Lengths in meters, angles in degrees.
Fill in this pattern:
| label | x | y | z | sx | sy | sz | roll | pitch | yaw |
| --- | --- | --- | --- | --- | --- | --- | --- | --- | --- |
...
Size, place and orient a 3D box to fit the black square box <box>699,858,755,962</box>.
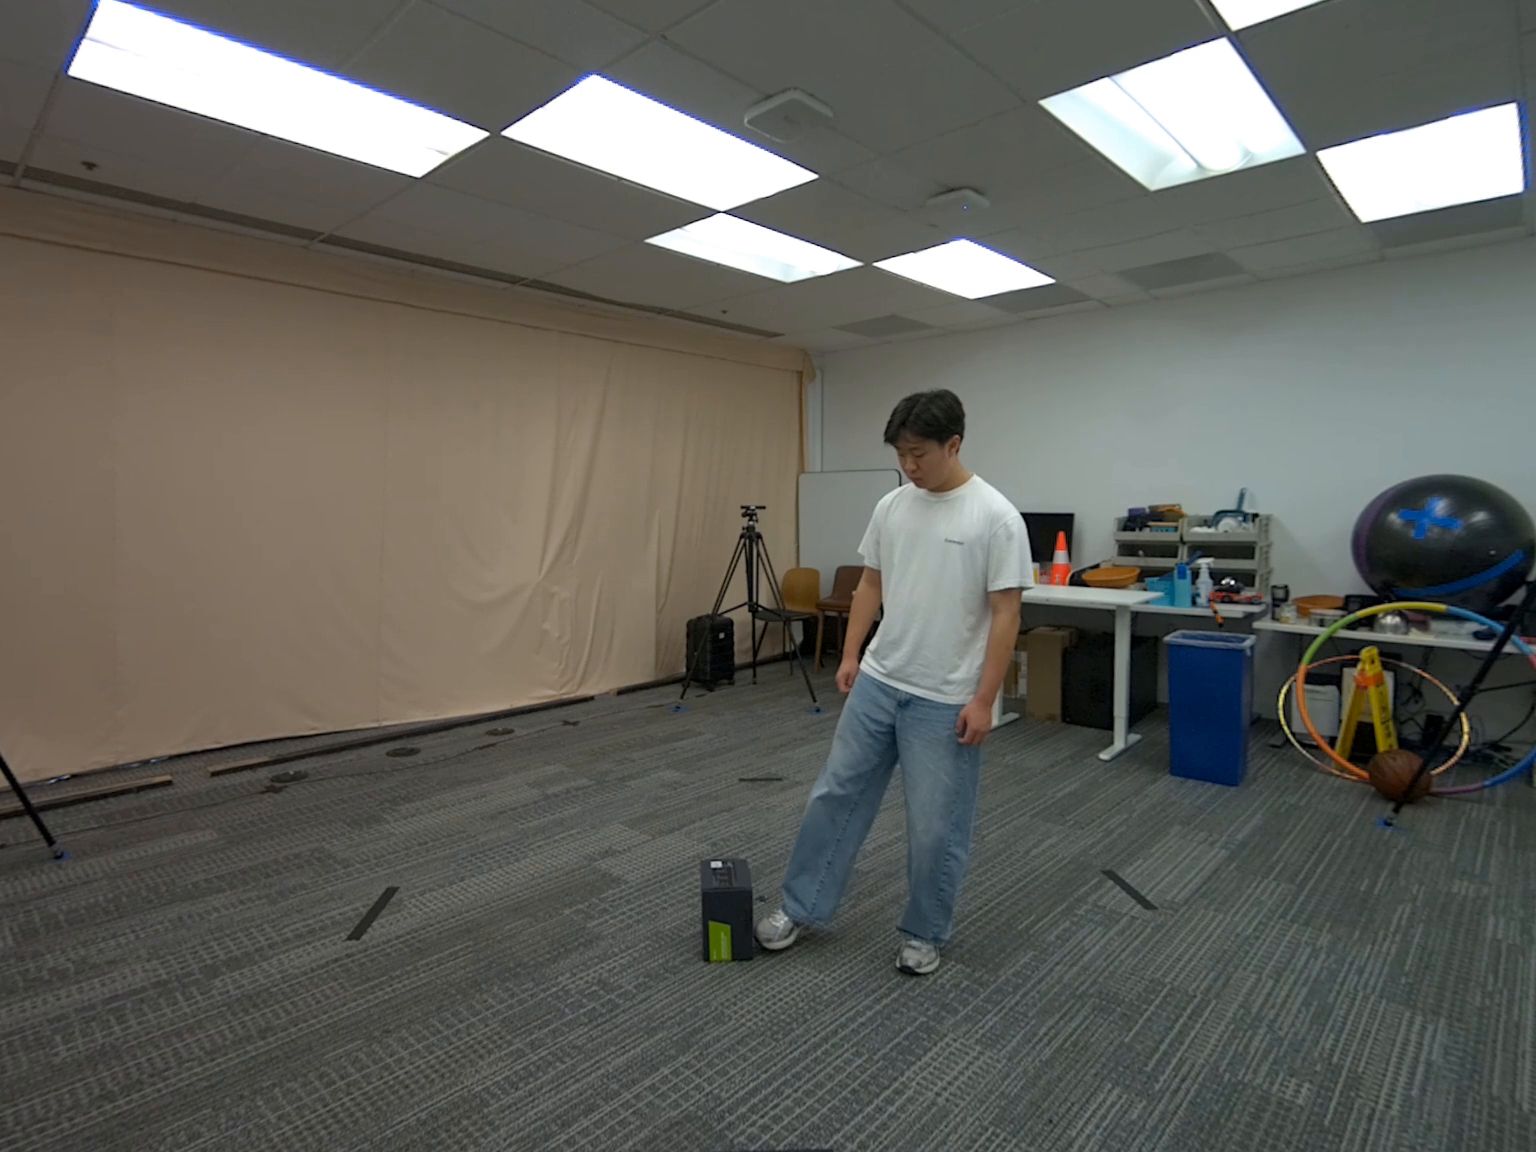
| label | x | y | z | sx | sy | sz | roll | pitch | yaw |
| --- | --- | --- | --- | --- | --- | --- | --- | --- | --- |
| black square box | -0.128 | 1.054 | 2.662 | 0.155 | 0.227 | 0.218 | -1 | 3 | -5 |
